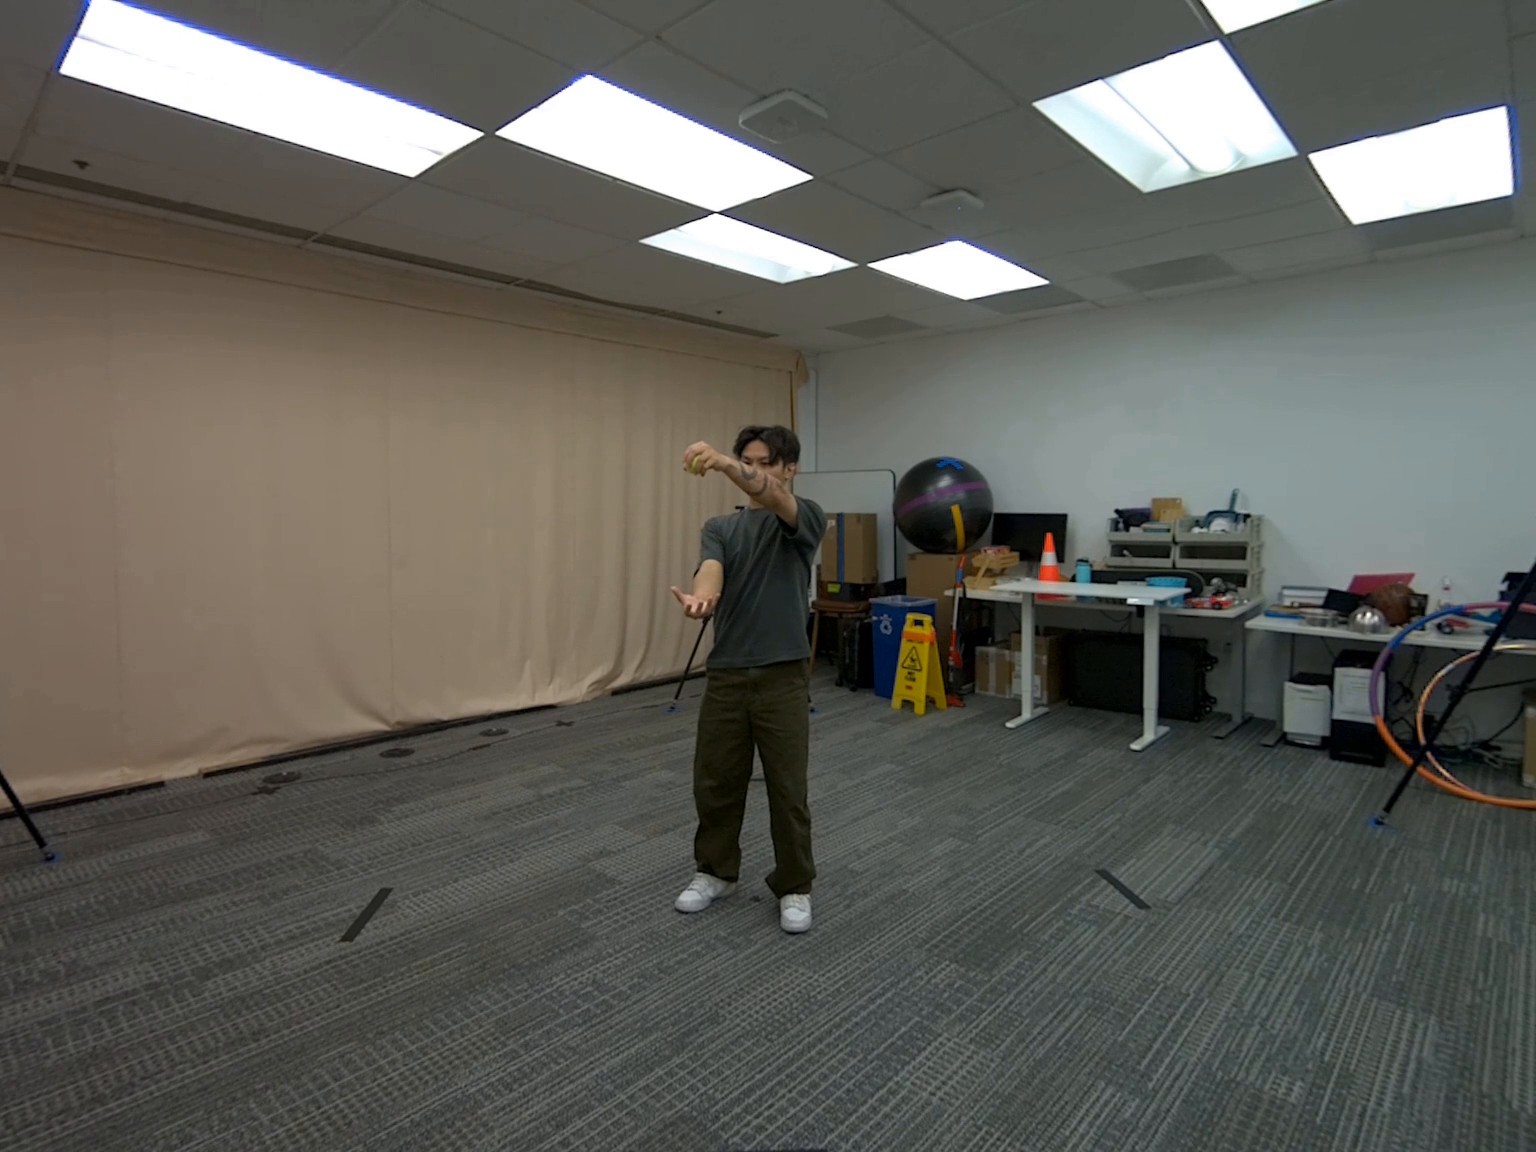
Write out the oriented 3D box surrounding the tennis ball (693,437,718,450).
[{"bbox_3d":[-0.176,-0.353,2.375,0.066,0.066,0.067,0,4,-2],"label":"tennis ball"}]
